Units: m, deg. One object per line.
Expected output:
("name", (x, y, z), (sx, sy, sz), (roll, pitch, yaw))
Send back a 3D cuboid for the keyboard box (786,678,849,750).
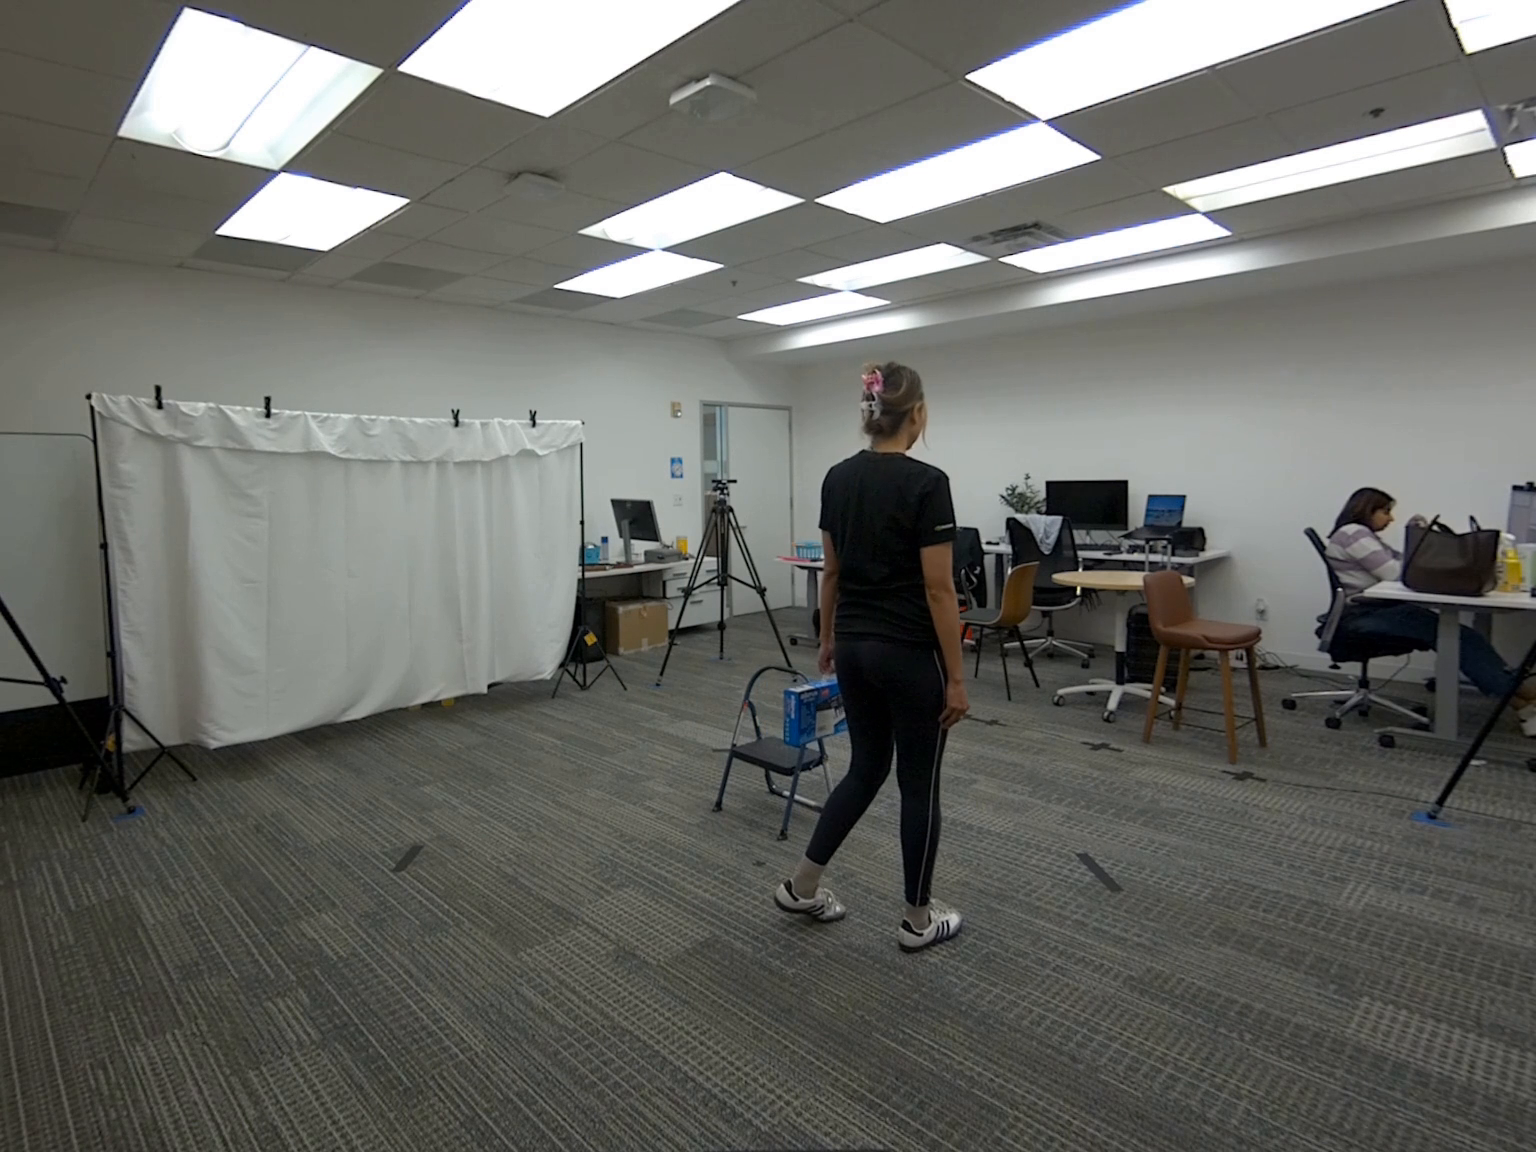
("keyboard box", (0.217, 0.435, 2.826), (0.061, 0.176, 0.425), (1, 3, 40))
